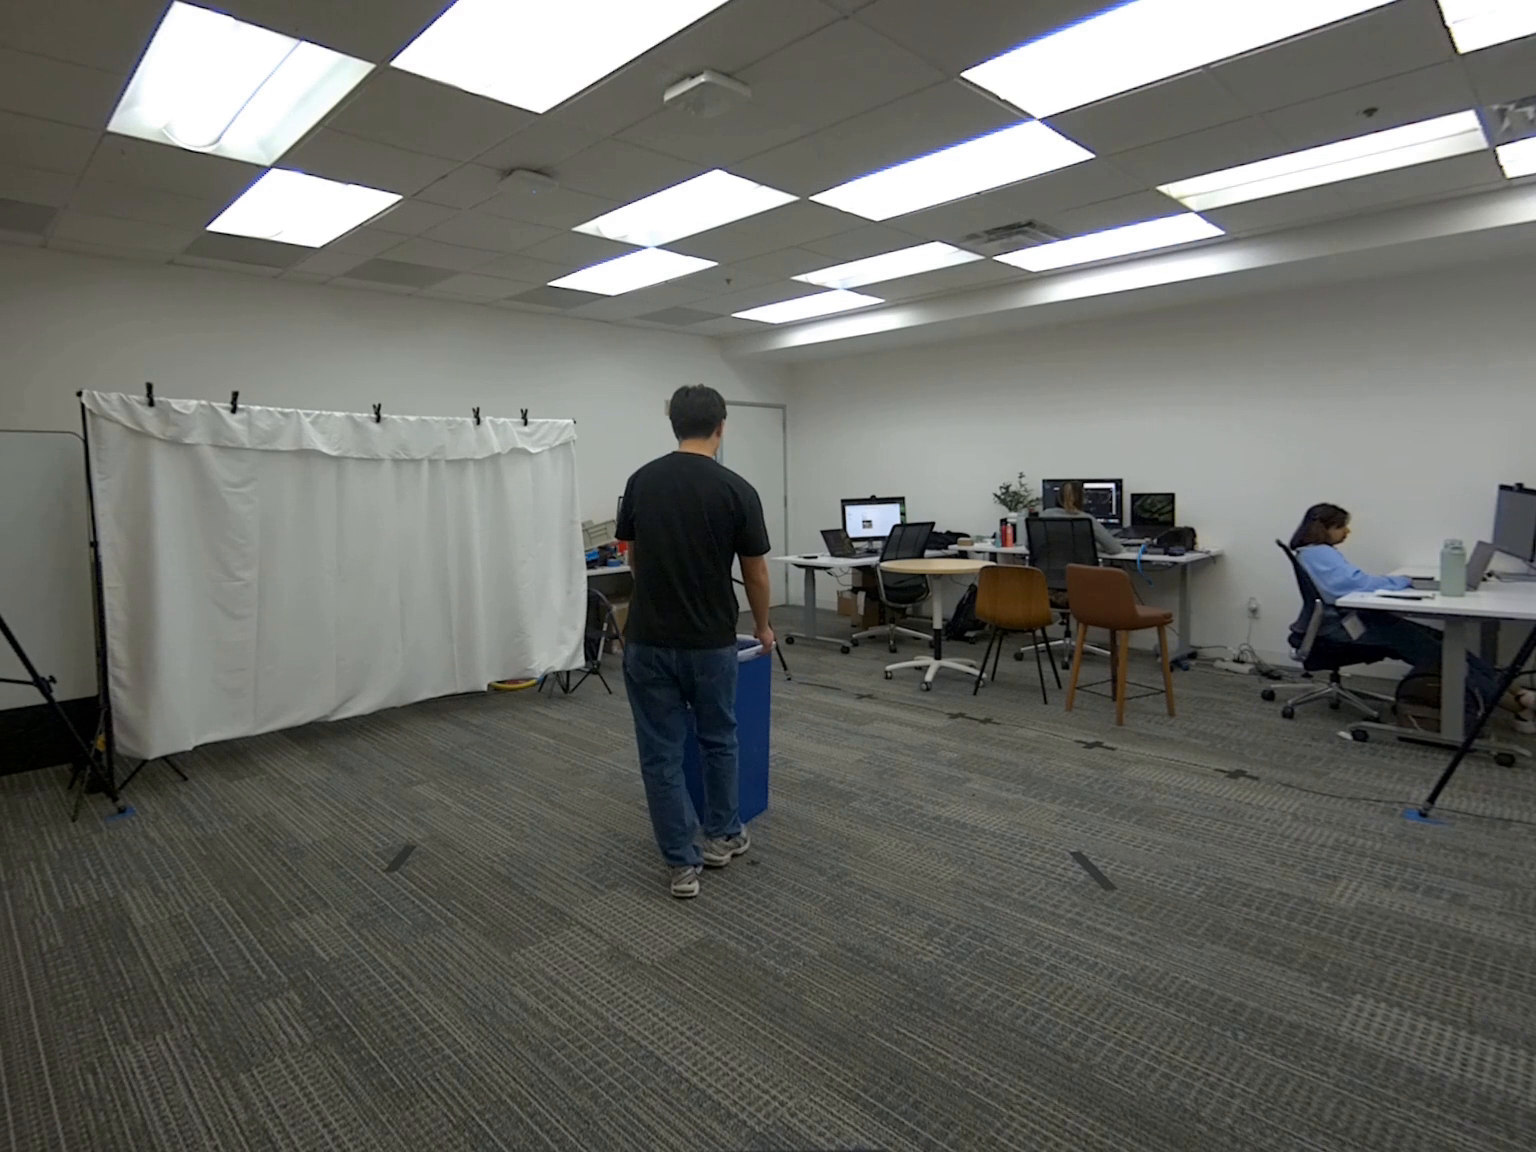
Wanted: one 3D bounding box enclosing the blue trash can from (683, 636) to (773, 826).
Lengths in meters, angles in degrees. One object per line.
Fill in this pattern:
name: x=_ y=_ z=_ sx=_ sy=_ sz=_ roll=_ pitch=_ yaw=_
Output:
blue trash can: x=-0.194 y=0.634 z=3.564 sx=0.384 sy=0.711 sz=0.369 roll=1 pitch=4 yaw=31
